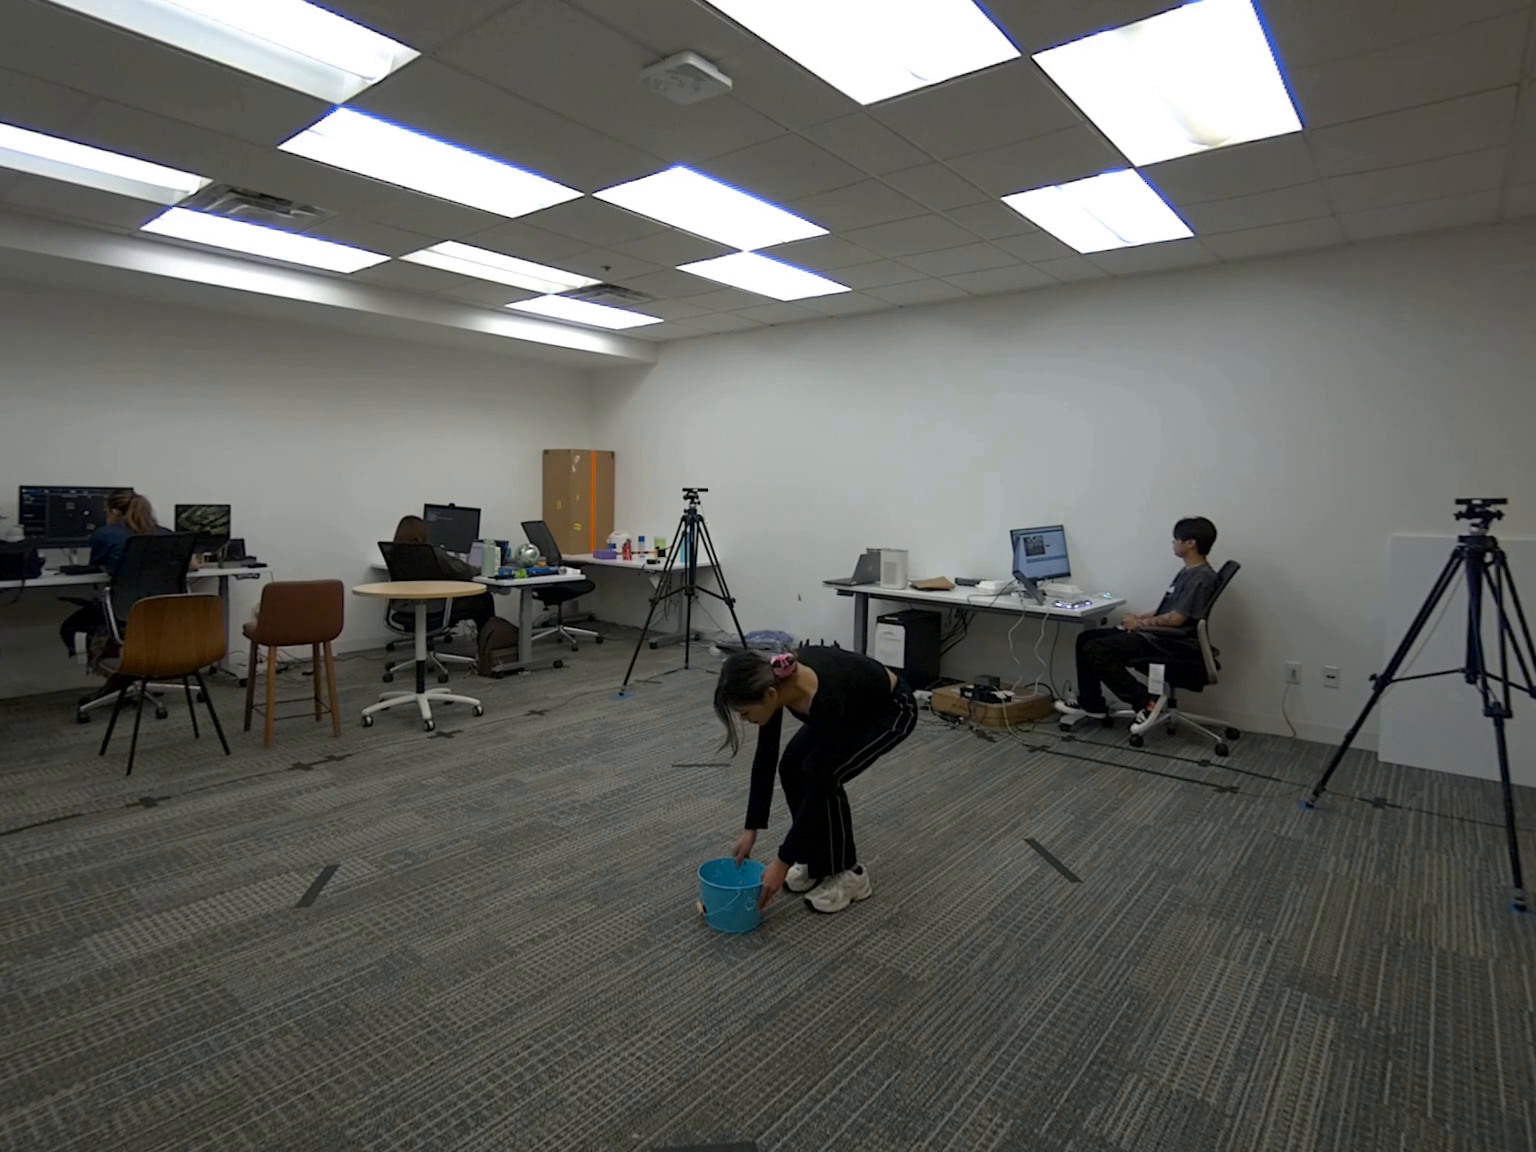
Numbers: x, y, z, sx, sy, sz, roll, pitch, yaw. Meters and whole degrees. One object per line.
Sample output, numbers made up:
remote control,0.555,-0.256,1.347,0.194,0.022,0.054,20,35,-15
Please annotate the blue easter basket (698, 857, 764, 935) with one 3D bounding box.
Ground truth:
blue easter basket,-0.122,1.035,2.755,0.243,0.155,0.245,1,5,-2
